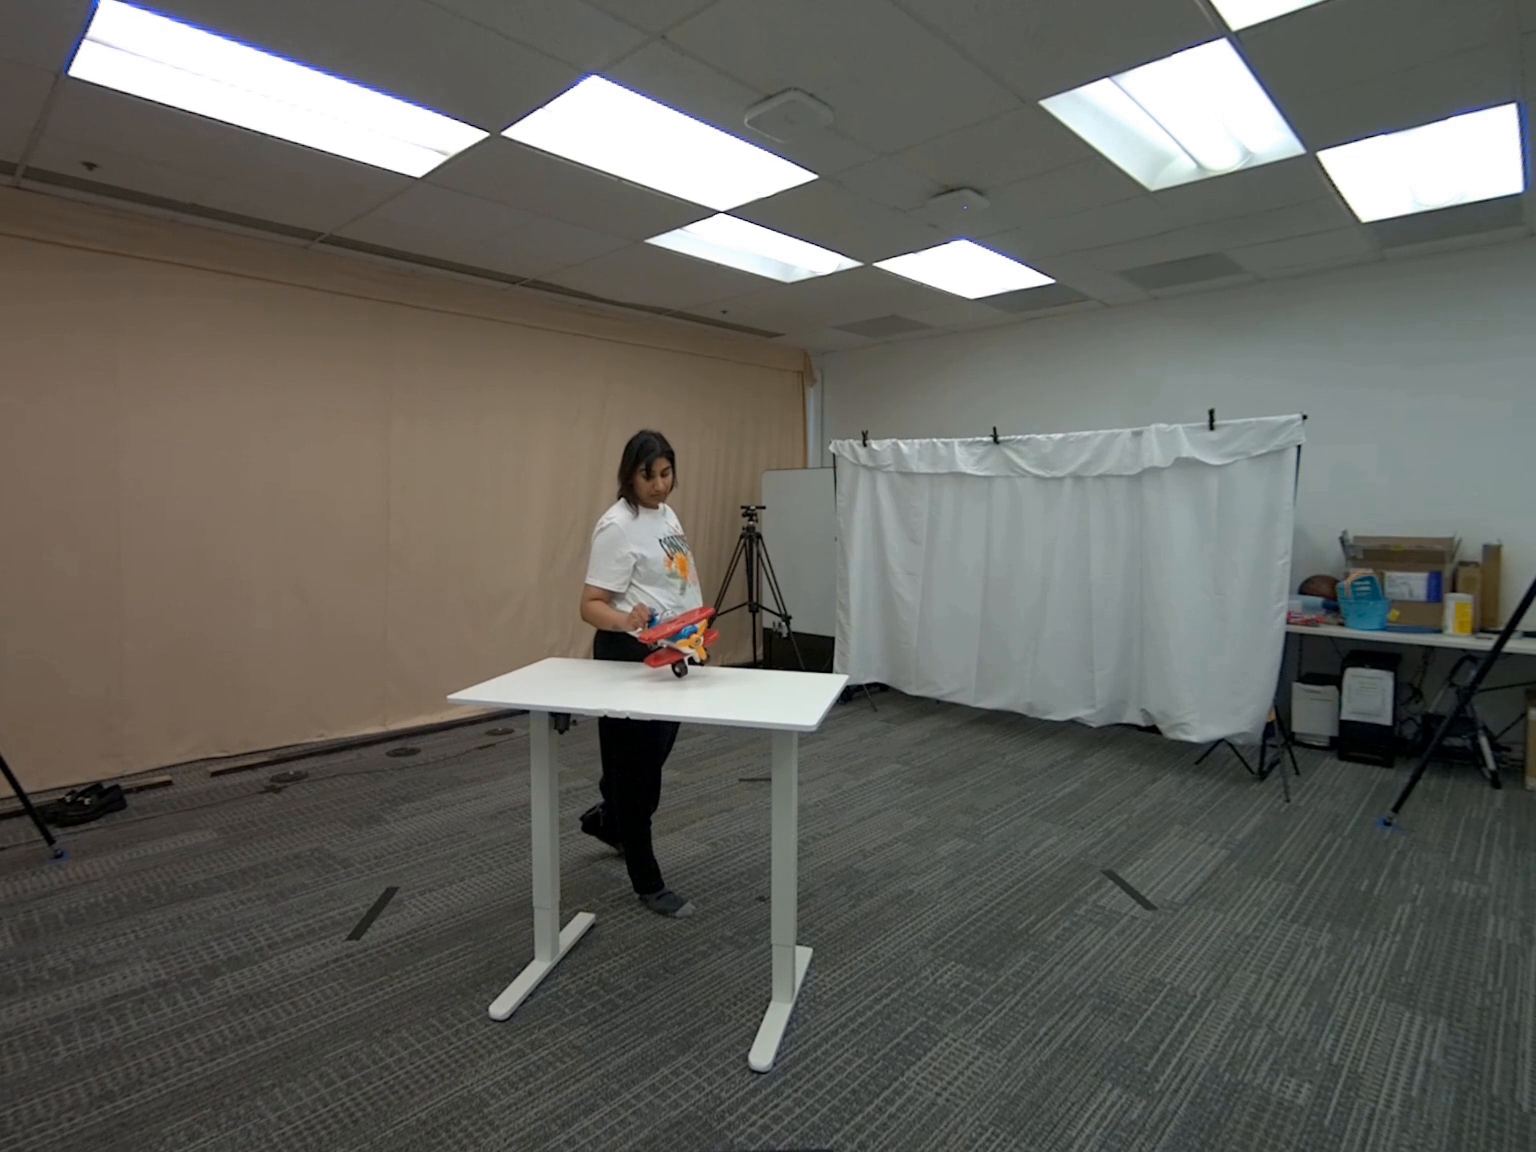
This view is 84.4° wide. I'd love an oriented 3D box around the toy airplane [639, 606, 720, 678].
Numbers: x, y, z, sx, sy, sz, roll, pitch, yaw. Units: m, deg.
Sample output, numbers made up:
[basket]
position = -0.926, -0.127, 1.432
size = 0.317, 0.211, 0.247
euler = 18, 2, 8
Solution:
[toy airplane]
position = -0.292, 0.194, 2.522
size = 0.265, 0.154, 0.249
euler = 9, 31, 21
